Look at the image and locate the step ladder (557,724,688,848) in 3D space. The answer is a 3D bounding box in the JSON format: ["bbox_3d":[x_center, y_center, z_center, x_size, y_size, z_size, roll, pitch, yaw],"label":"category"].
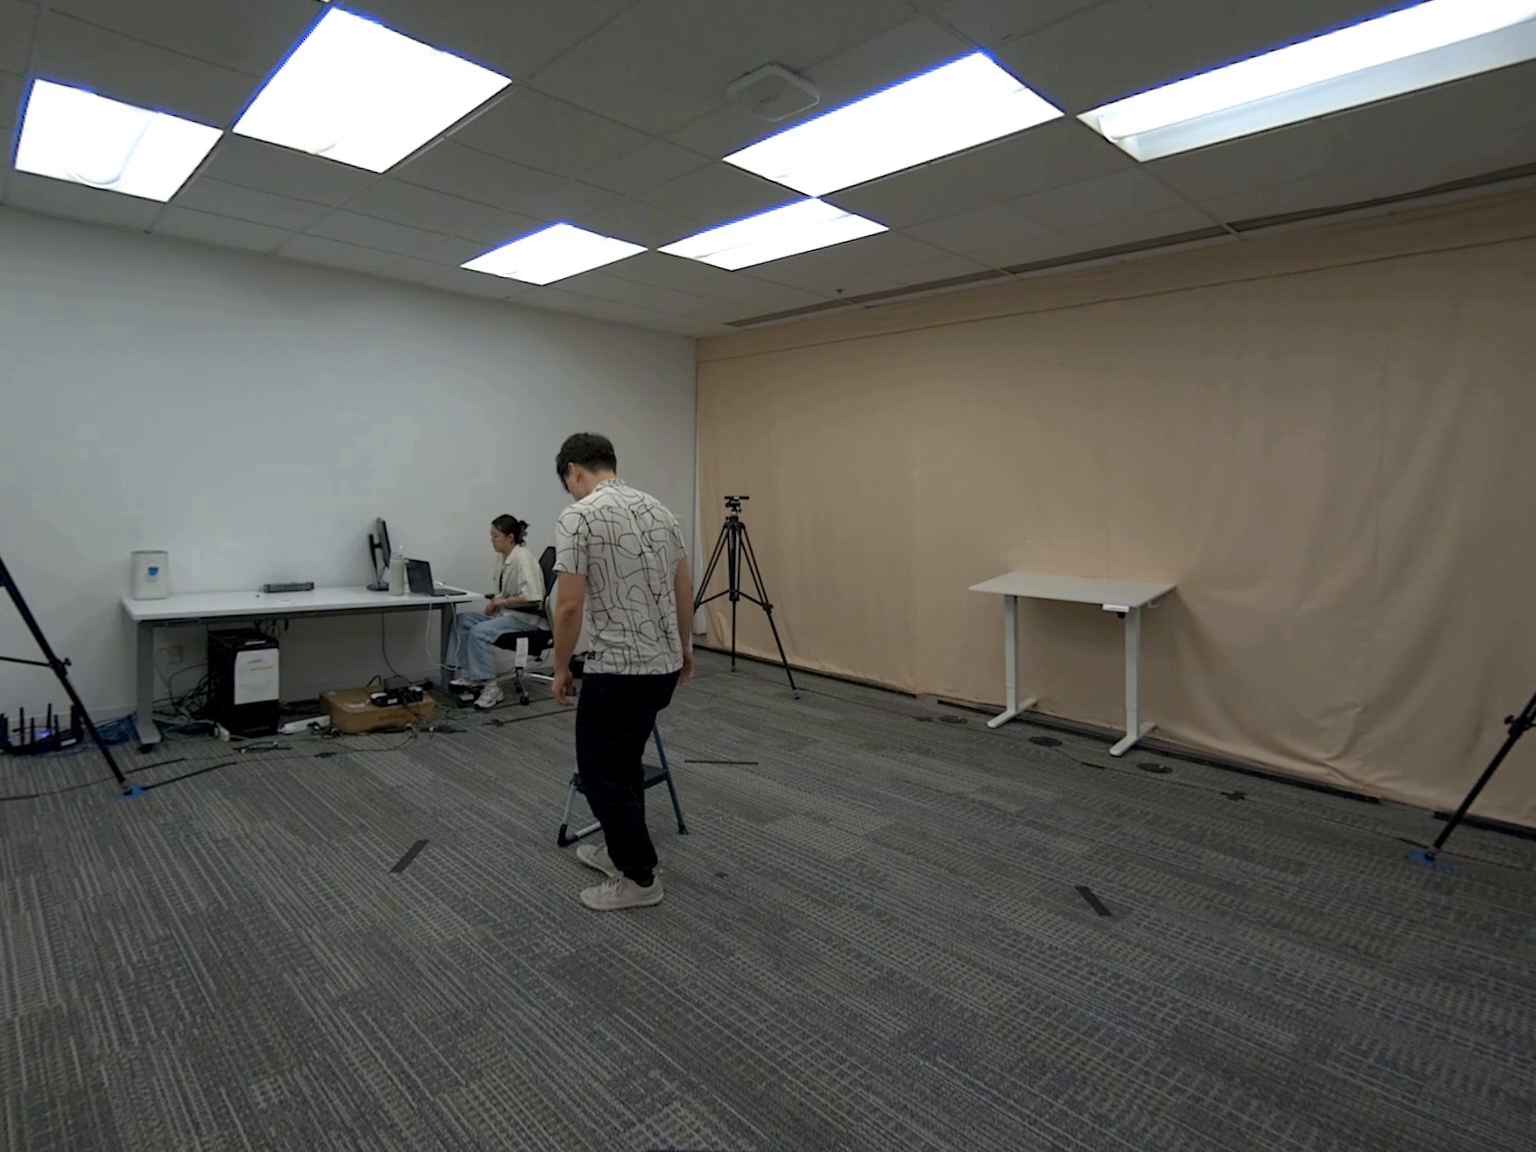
[{"bbox_3d":[-0.578,0.770,3.389,0.357,0.604,0.422,4,4,30],"label":"step ladder"}]
